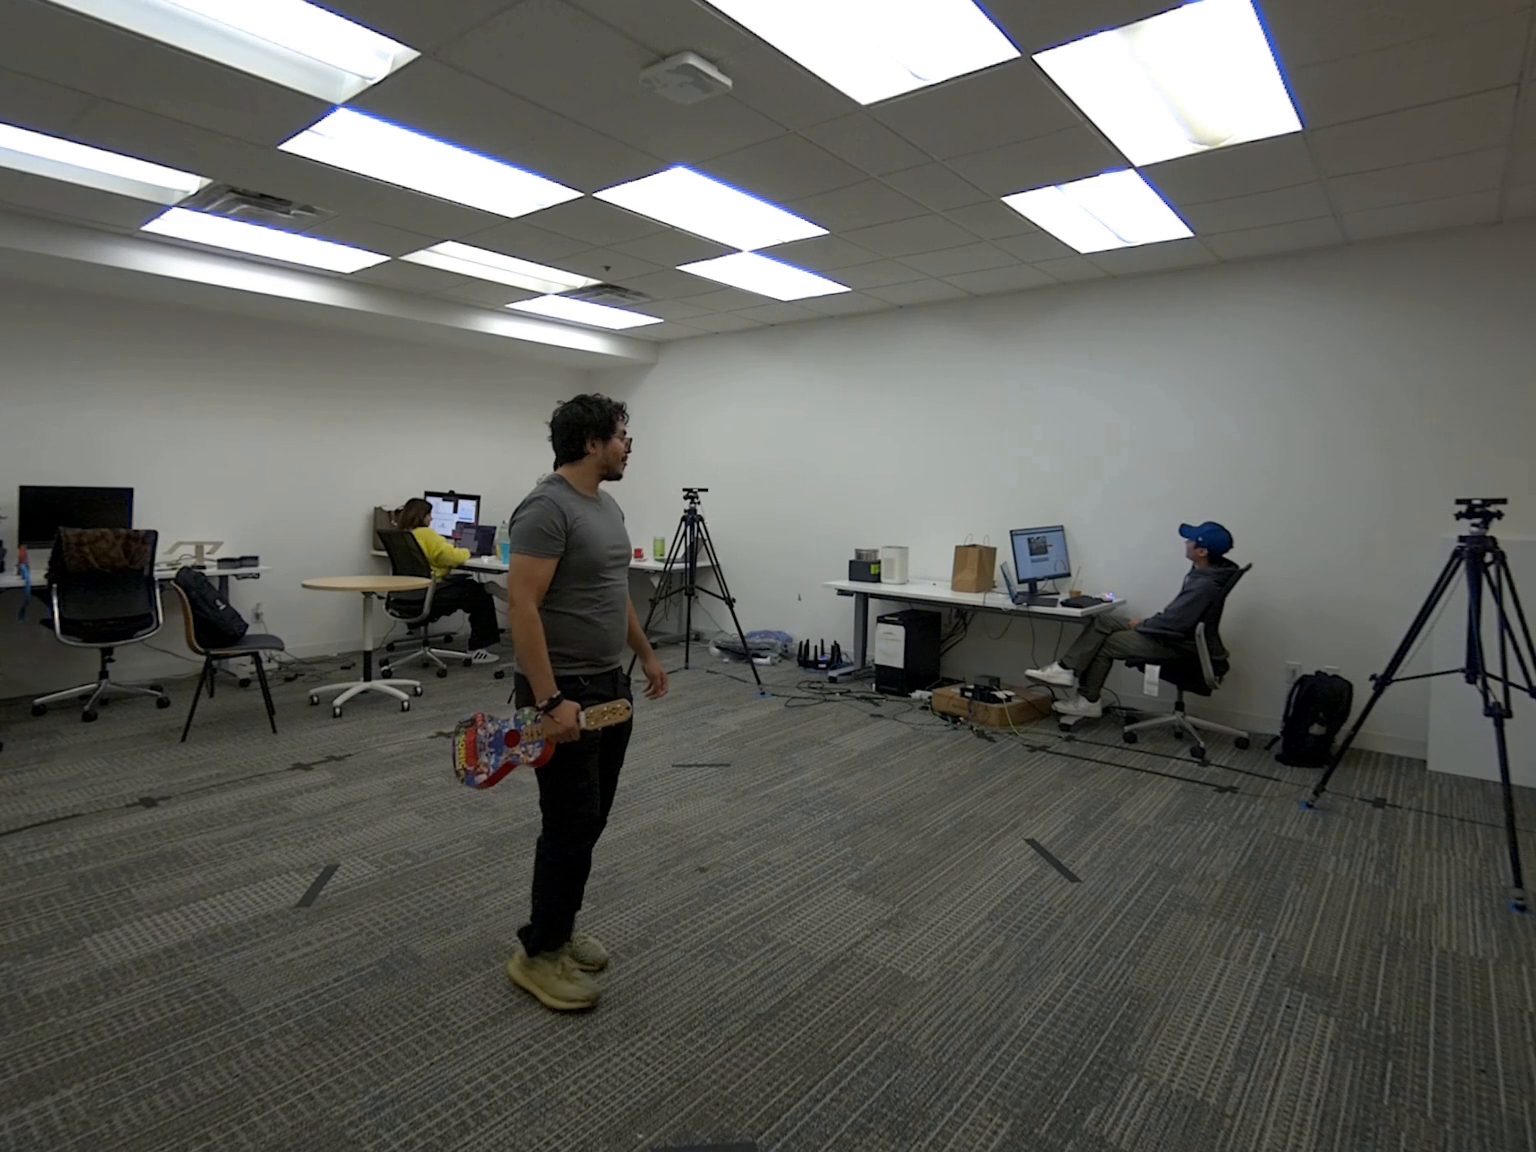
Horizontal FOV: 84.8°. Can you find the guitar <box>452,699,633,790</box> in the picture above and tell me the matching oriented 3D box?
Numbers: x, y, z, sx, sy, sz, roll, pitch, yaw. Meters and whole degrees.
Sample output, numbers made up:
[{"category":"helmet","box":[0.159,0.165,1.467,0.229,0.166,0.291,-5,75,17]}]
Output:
[{"category":"guitar","box":[-0.595,0.445,2.189,0.504,0.197,0.068,-5,-21,12]}]
